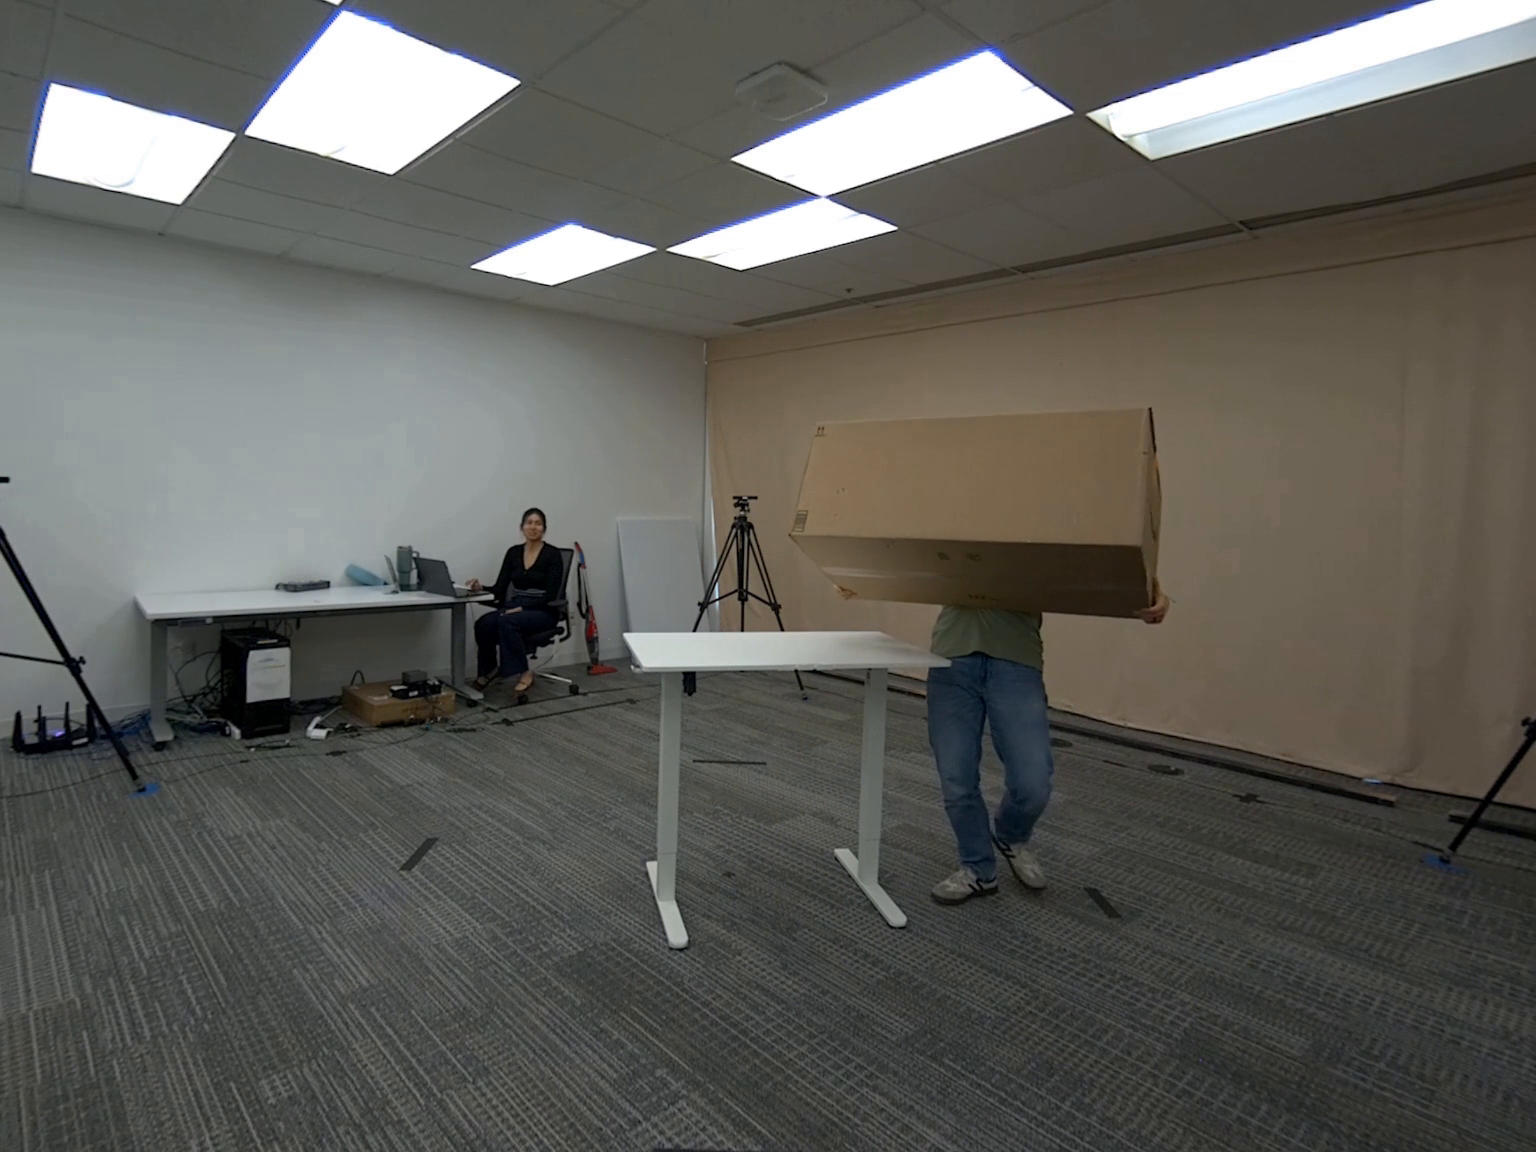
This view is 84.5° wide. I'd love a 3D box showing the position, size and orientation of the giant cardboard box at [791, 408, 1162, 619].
[{"bbox_3d":[0.679,-0.188,2.720,1.048,0.430,0.559,3,-22,30],"label":"giant cardboard box"}]
